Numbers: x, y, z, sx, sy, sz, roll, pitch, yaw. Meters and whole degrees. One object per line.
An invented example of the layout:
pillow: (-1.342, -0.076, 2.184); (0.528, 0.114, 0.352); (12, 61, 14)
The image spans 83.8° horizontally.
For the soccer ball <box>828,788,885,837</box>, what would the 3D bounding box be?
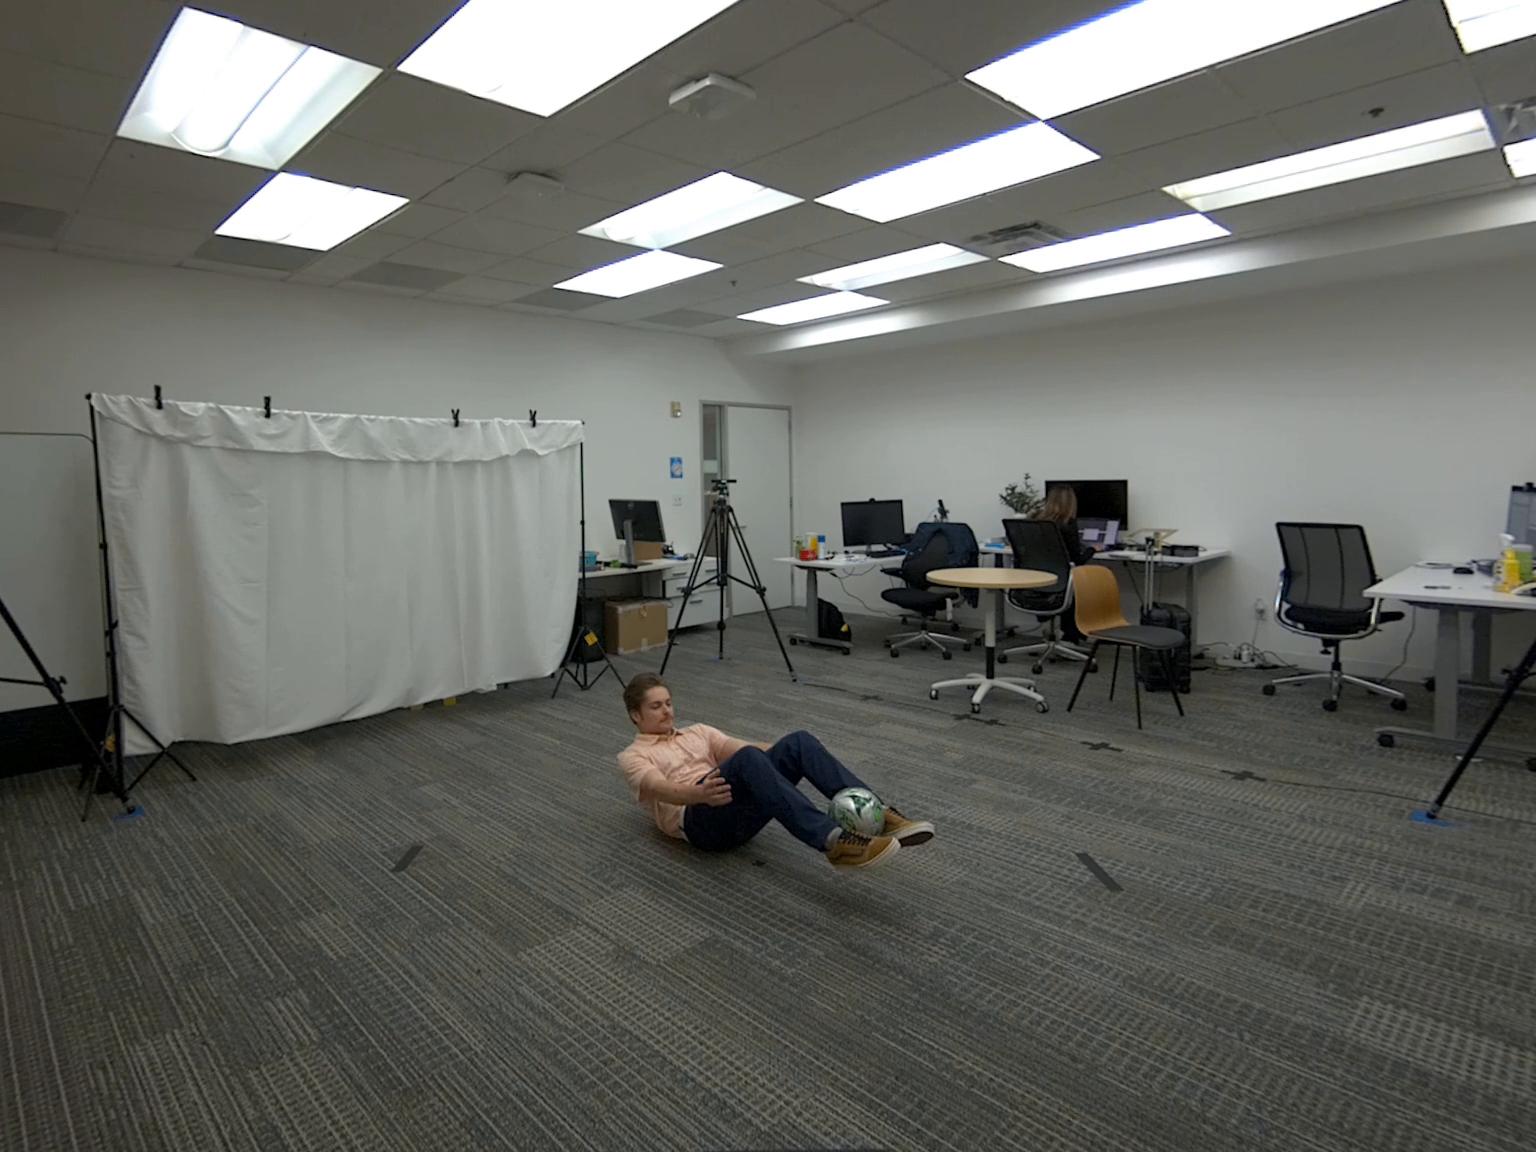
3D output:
soccer ball: (0.290, 0.795, 2.793); (0.187, 0.187, 0.188); (-1, 5, -2)
